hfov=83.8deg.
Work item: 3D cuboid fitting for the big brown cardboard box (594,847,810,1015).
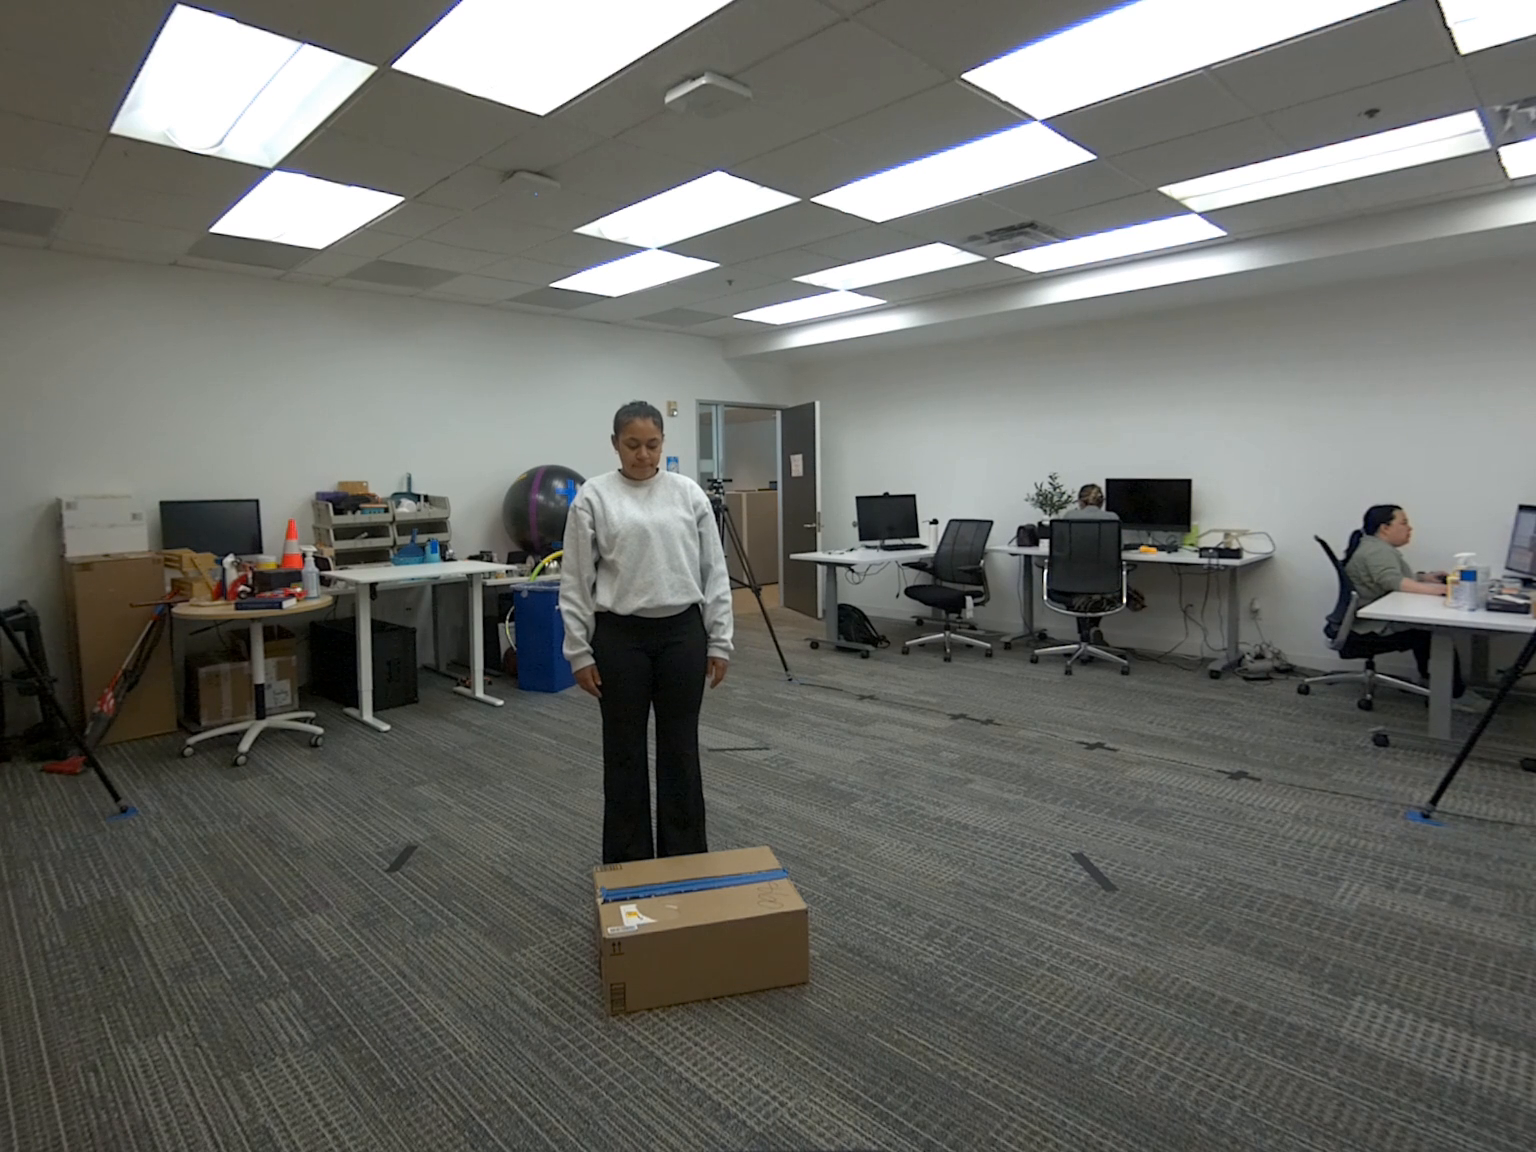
[{"bbox_3d":[-0.211,1.007,2.494,0.581,0.232,0.425,-2,6,-14],"label":"big brown cardboard box"}]
